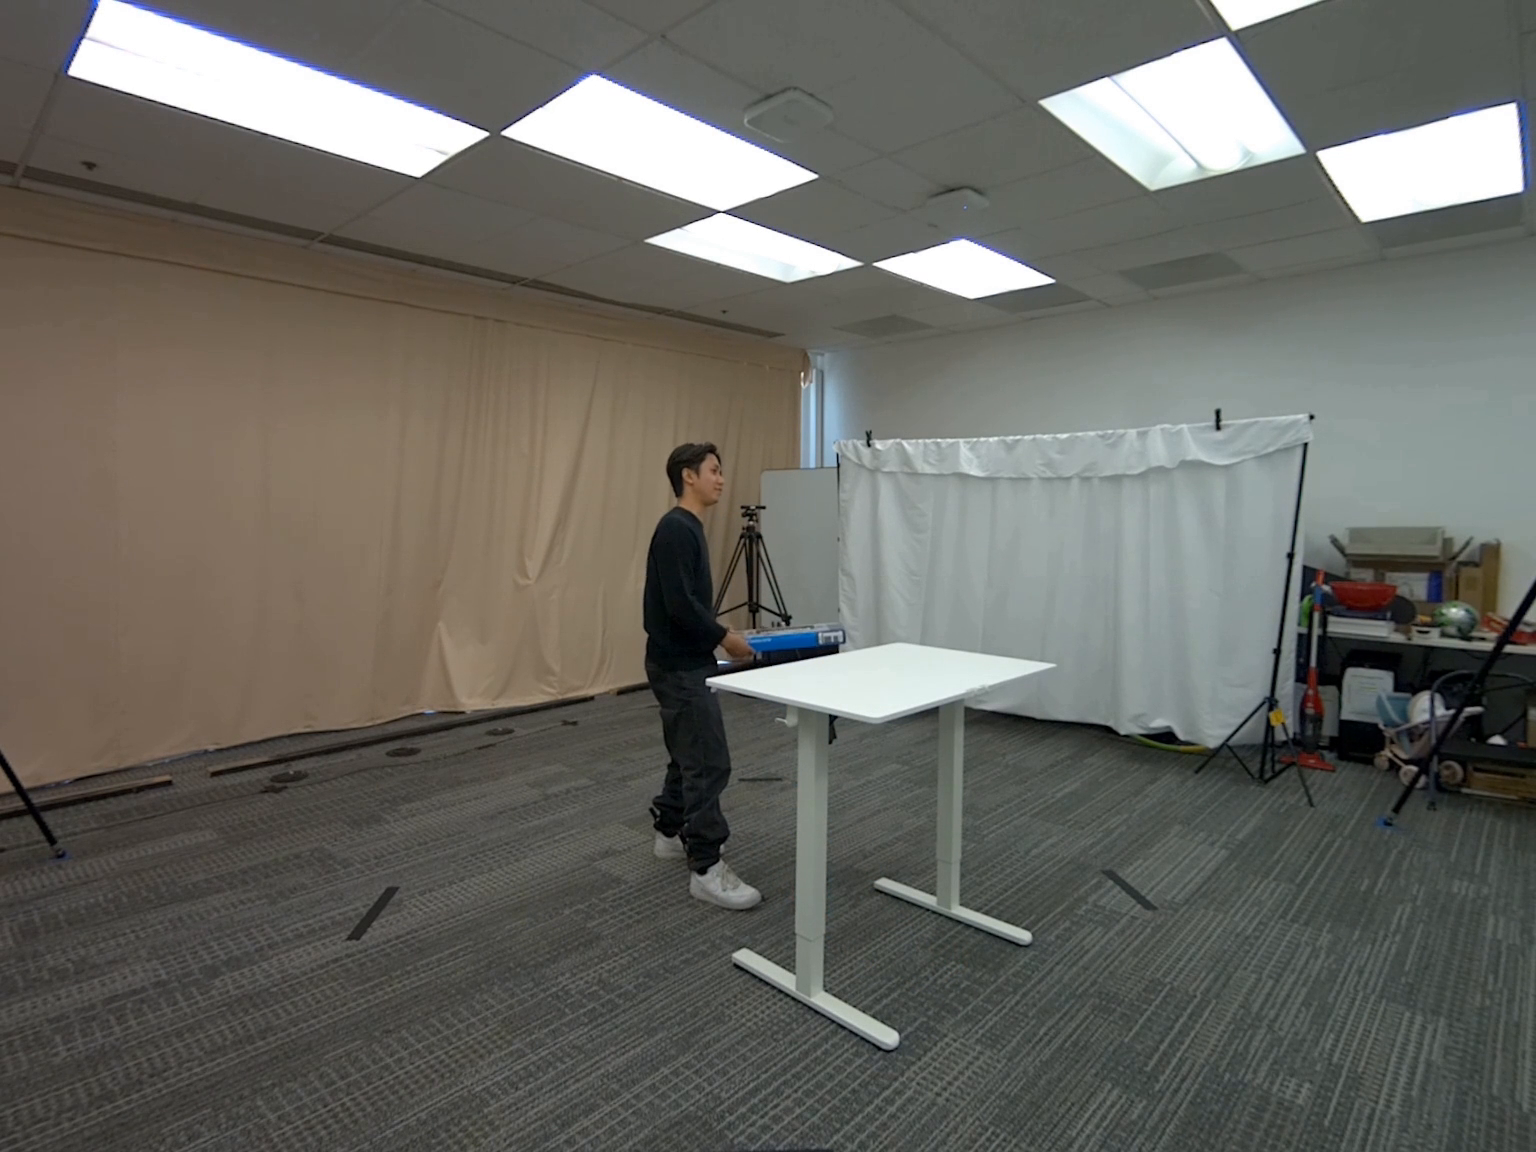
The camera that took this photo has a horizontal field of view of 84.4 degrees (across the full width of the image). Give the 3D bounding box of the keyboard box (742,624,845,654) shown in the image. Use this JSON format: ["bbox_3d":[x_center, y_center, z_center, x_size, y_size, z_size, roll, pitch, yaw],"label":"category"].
[{"bbox_3d":[0.075,0.237,3.225,0.438,0.059,0.176,-5,6,1],"label":"keyboard box"}]
